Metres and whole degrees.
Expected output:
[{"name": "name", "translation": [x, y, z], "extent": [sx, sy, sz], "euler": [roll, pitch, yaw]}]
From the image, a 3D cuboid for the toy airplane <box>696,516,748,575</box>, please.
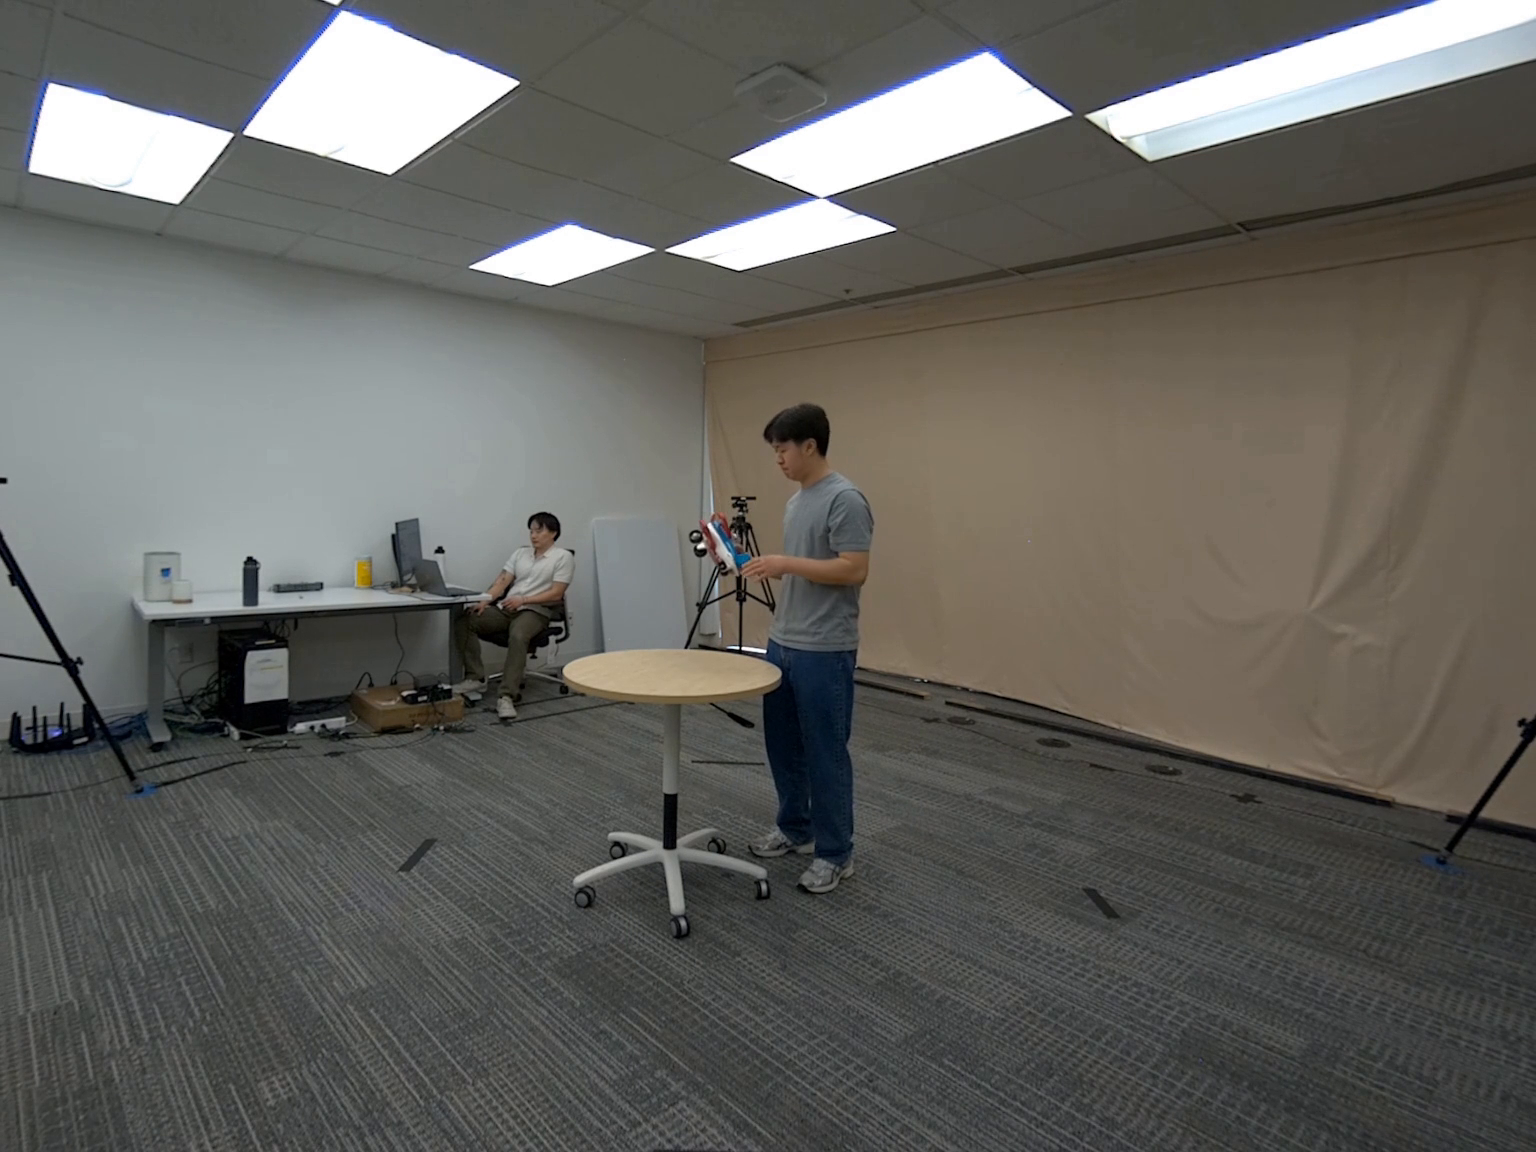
[{"name": "toy airplane", "translation": [-0.182, -0.108, 3.288], "extent": [0.156, 0.262, 0.249], "euler": [-36, -10, -17]}]
